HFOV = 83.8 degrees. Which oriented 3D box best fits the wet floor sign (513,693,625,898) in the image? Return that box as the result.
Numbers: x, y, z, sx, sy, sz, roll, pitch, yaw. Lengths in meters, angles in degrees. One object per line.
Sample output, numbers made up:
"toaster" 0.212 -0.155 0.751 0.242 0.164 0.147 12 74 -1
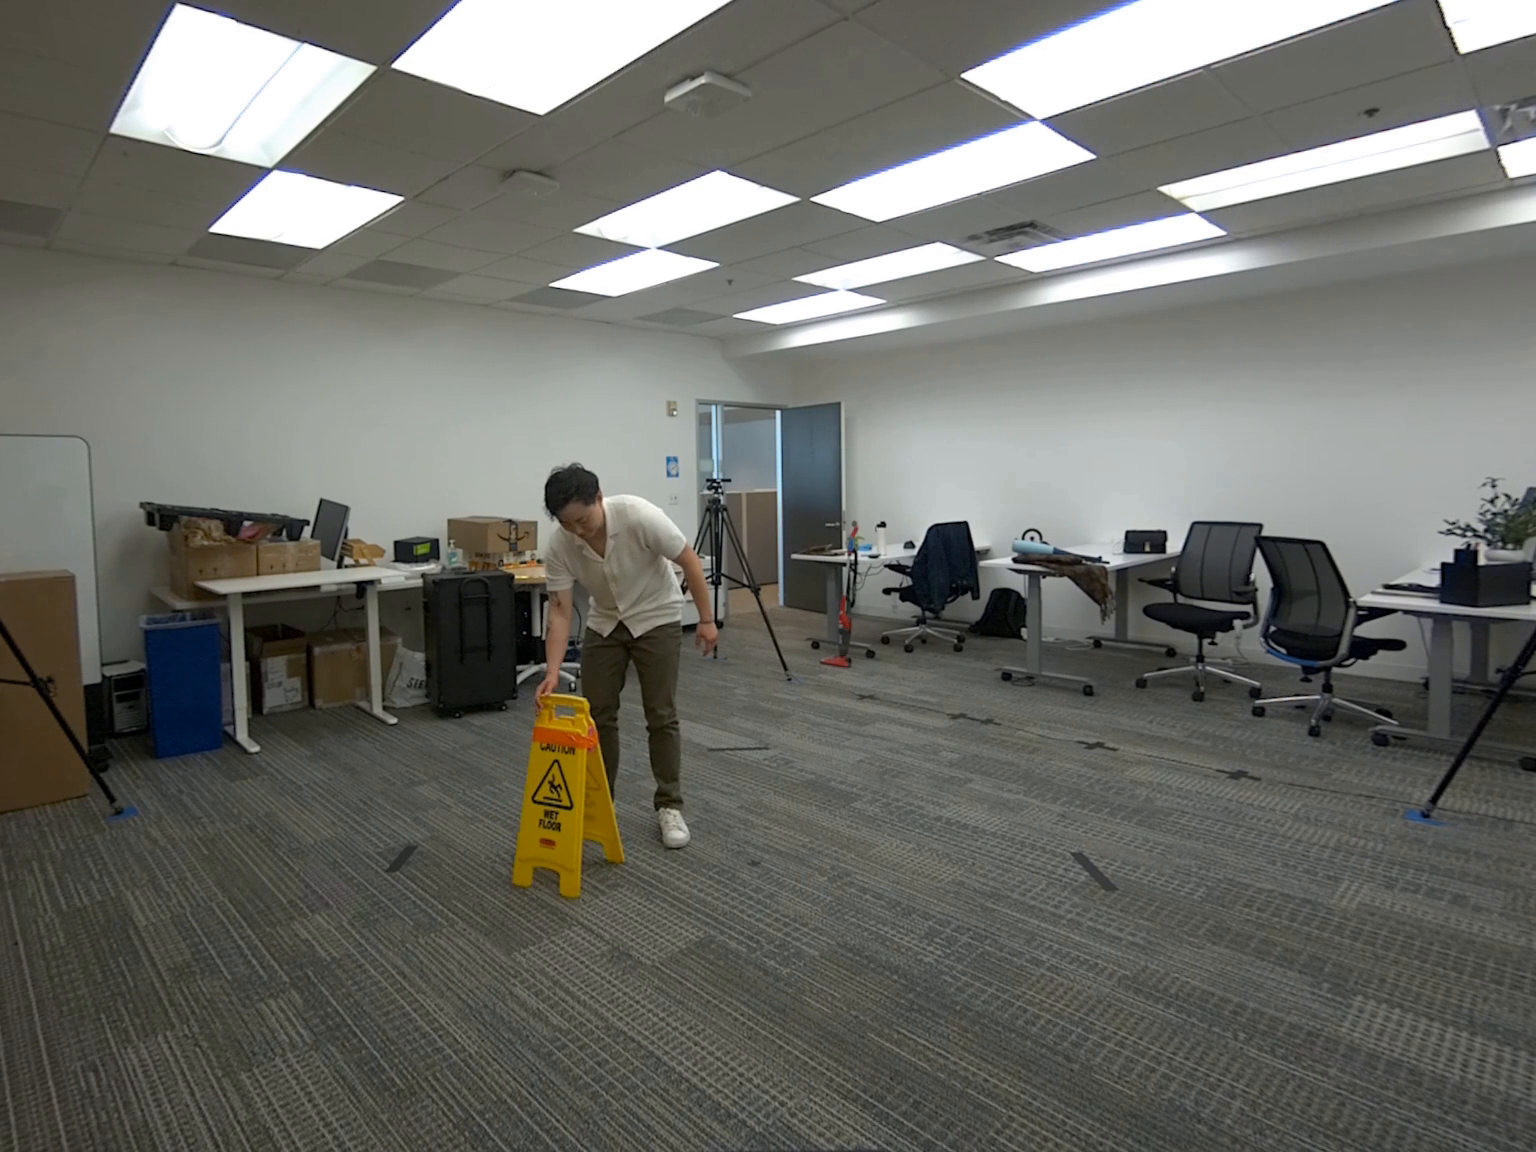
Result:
"wet floor sign" -0.721 0.743 3.036 0.289 0.644 0.284 0 4 25
